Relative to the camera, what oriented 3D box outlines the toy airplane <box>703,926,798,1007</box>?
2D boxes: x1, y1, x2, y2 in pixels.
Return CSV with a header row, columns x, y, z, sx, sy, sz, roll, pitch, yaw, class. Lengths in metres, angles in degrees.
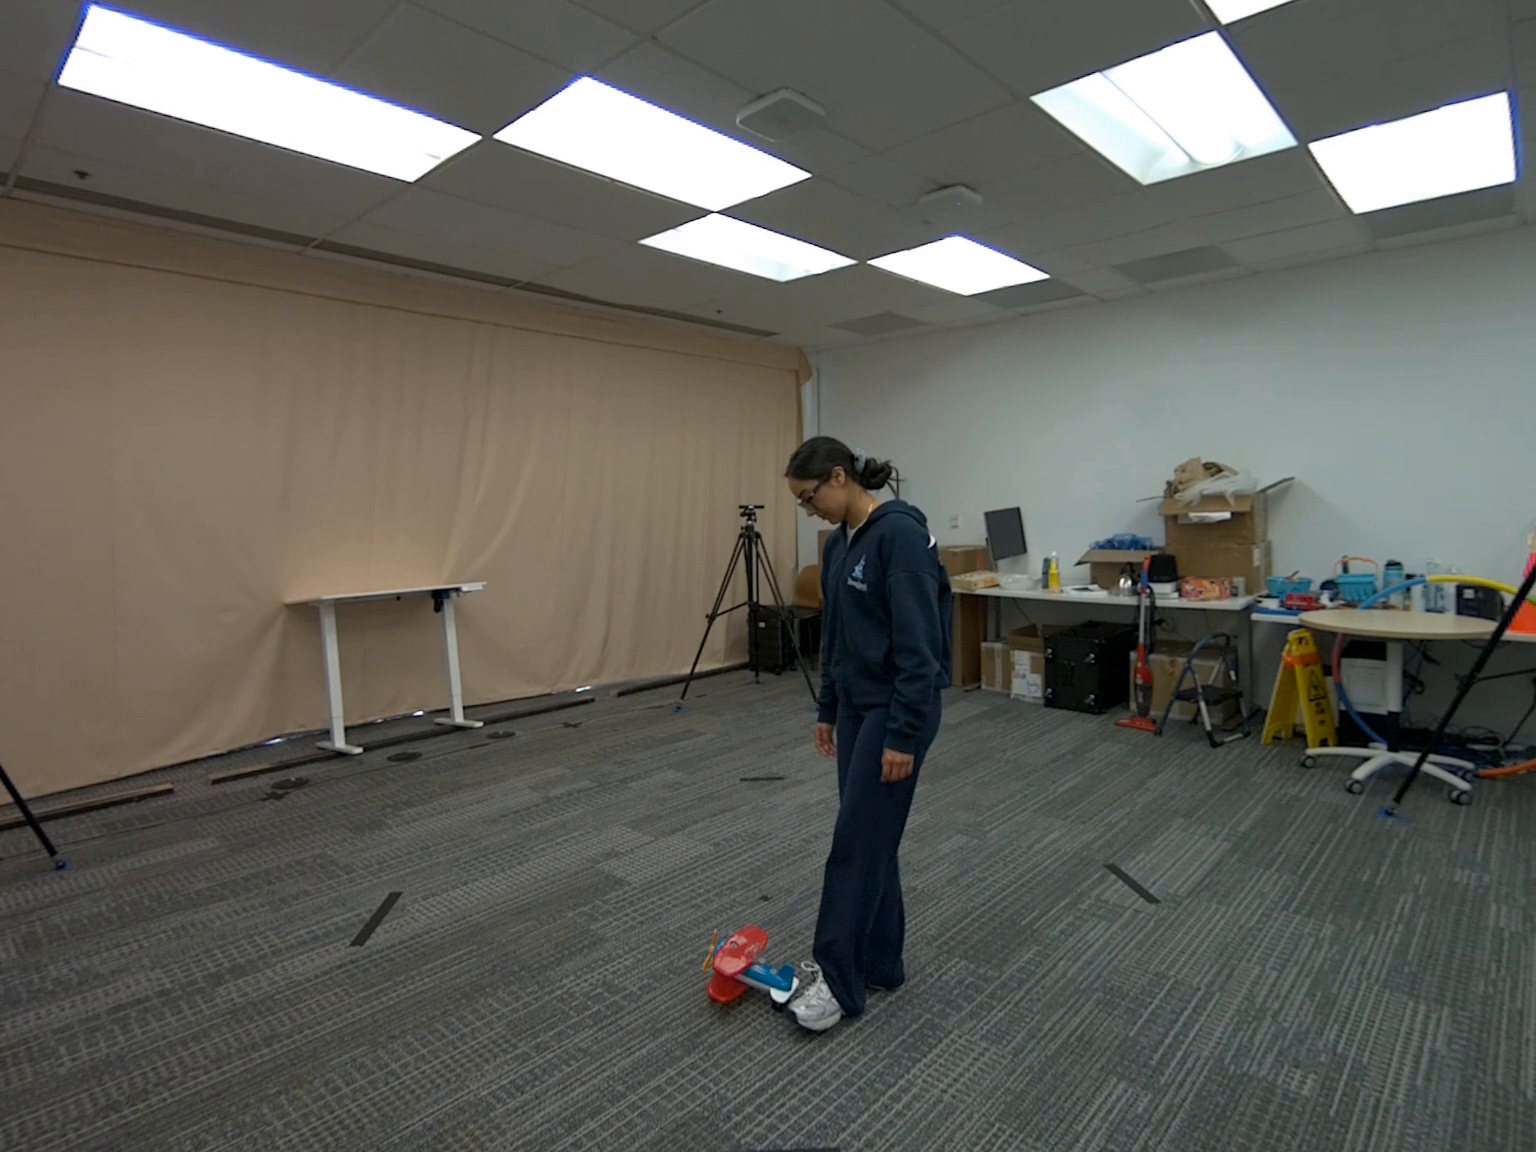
x,y,z,sx,sy,sz,roll,pitch,yaw,class
-0.042,1.122,2.392,0.259,0.156,0.252,-2,4,-2,toy airplane
